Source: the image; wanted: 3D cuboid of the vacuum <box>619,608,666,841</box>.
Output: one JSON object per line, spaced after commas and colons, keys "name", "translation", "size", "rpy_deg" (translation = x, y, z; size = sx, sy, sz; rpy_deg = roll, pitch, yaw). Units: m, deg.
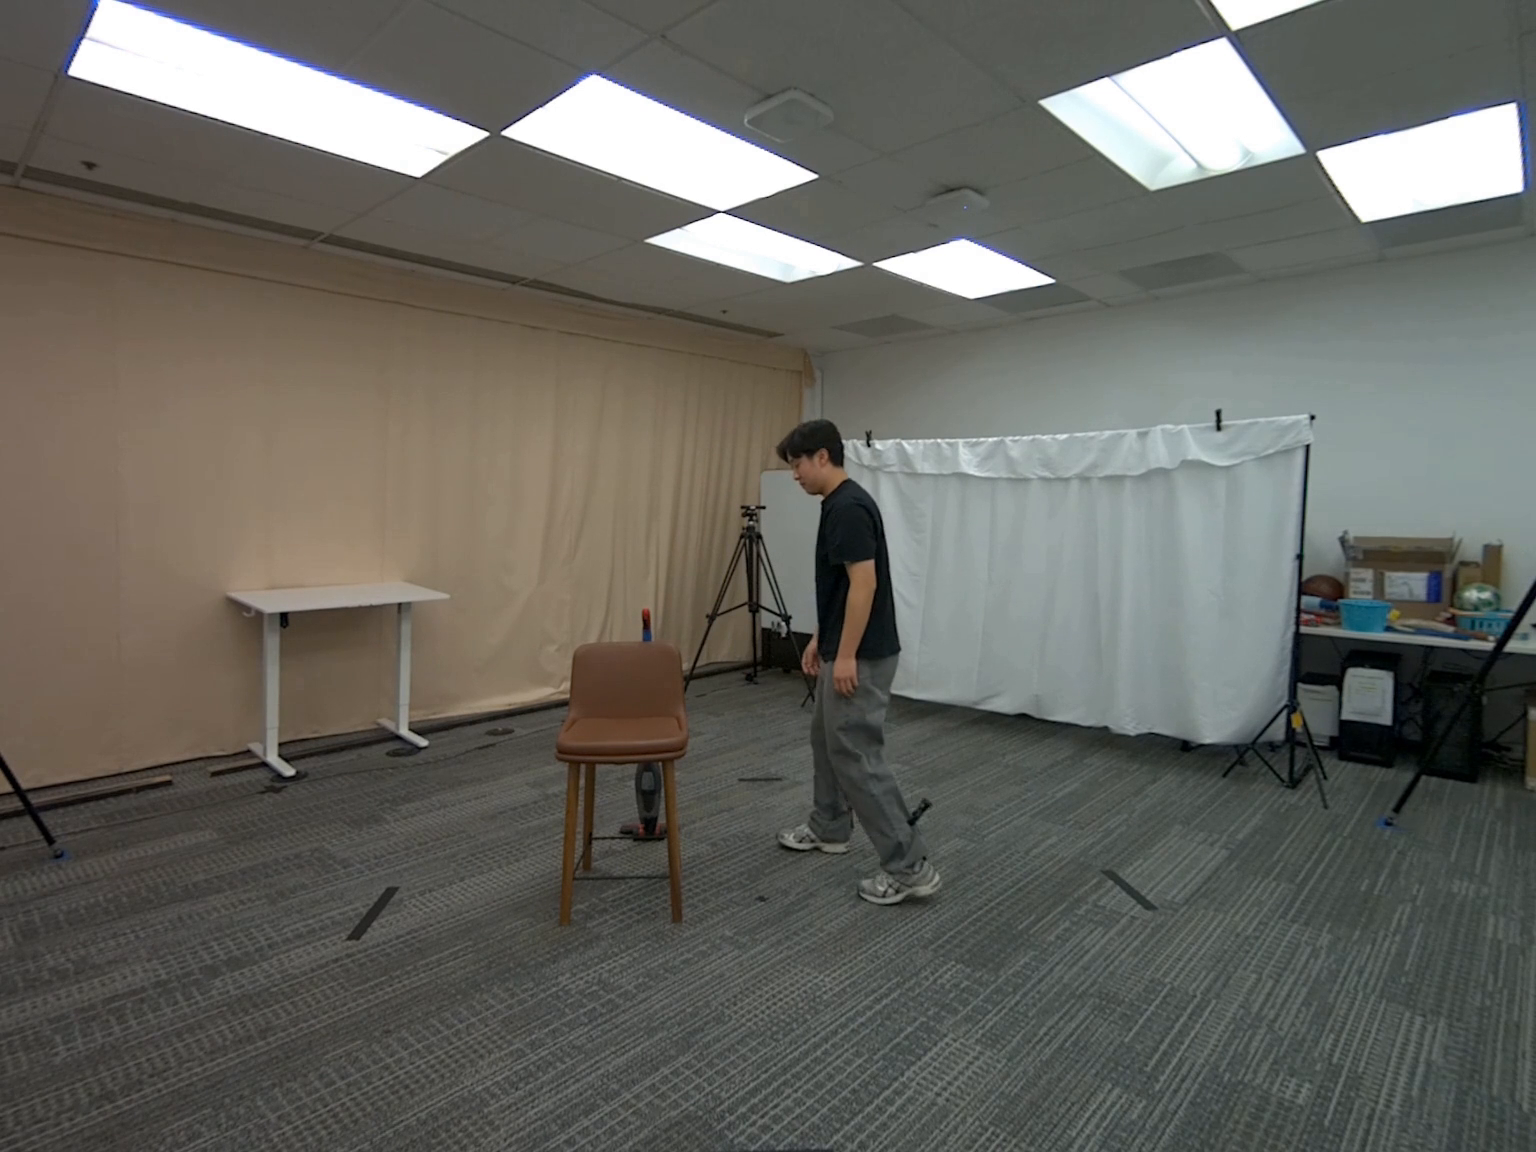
{"name": "vacuum", "translation": [-0.482, 0.612, 3.398], "size": [0.249, 1.038, 0.148], "rpy_deg": [-2, 21, -14]}
